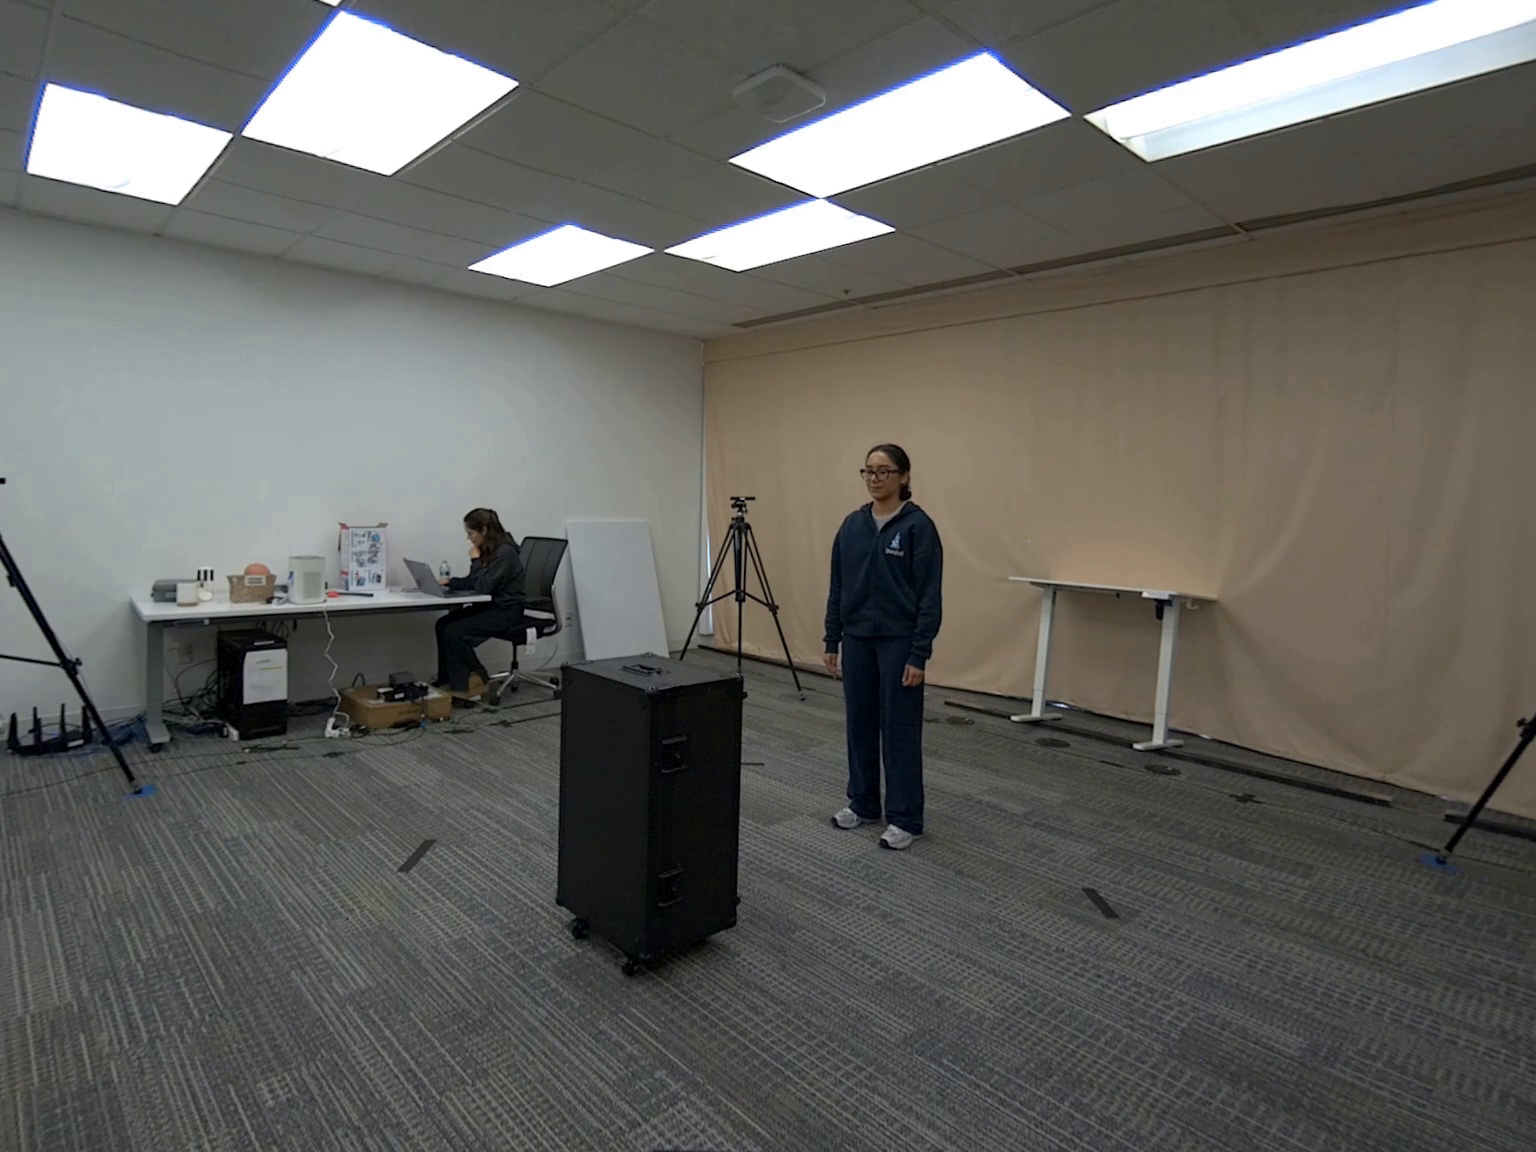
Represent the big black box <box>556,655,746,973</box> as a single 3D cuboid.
[{"bbox_3d":[-0.379,0.721,2.652,0.387,0.860,0.534,1,3,-44],"label":"big black box"}]
